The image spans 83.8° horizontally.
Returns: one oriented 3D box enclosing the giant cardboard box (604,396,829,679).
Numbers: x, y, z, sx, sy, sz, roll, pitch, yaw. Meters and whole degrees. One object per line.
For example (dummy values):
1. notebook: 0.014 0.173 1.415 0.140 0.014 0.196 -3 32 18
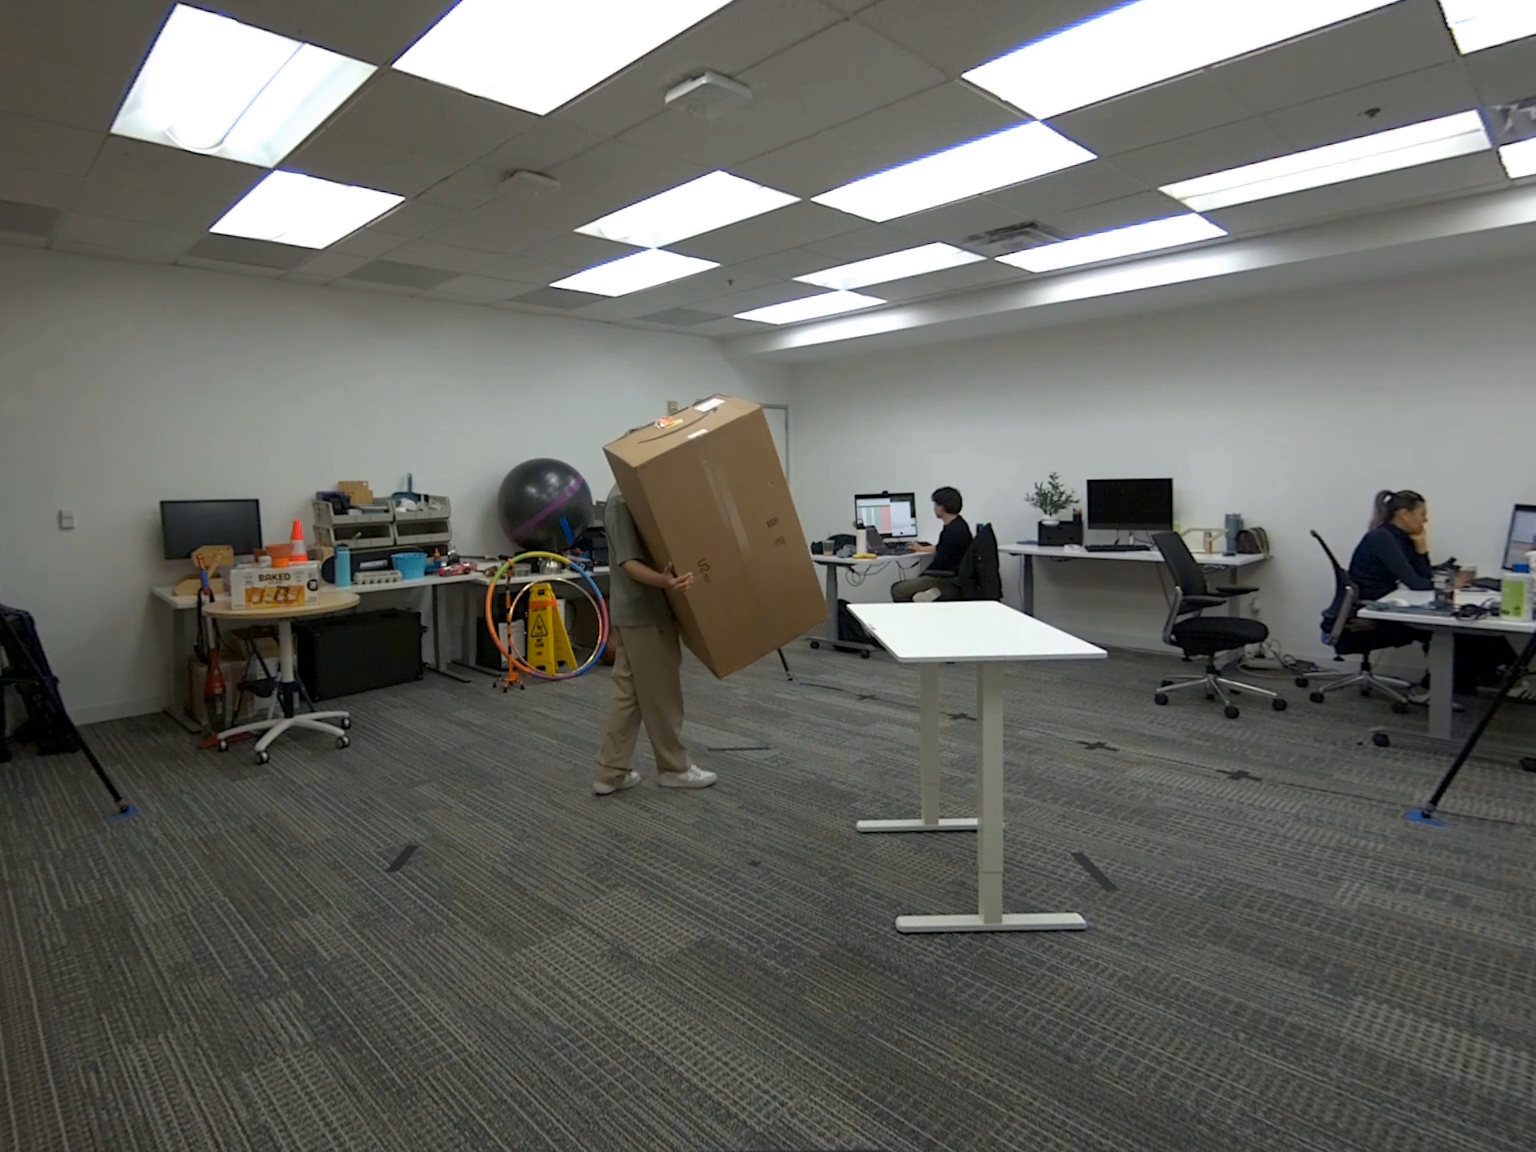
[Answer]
1. giant cardboard box: -0.207 -0.175 3.655 0.573 0.999 0.441 -28 26 -18
